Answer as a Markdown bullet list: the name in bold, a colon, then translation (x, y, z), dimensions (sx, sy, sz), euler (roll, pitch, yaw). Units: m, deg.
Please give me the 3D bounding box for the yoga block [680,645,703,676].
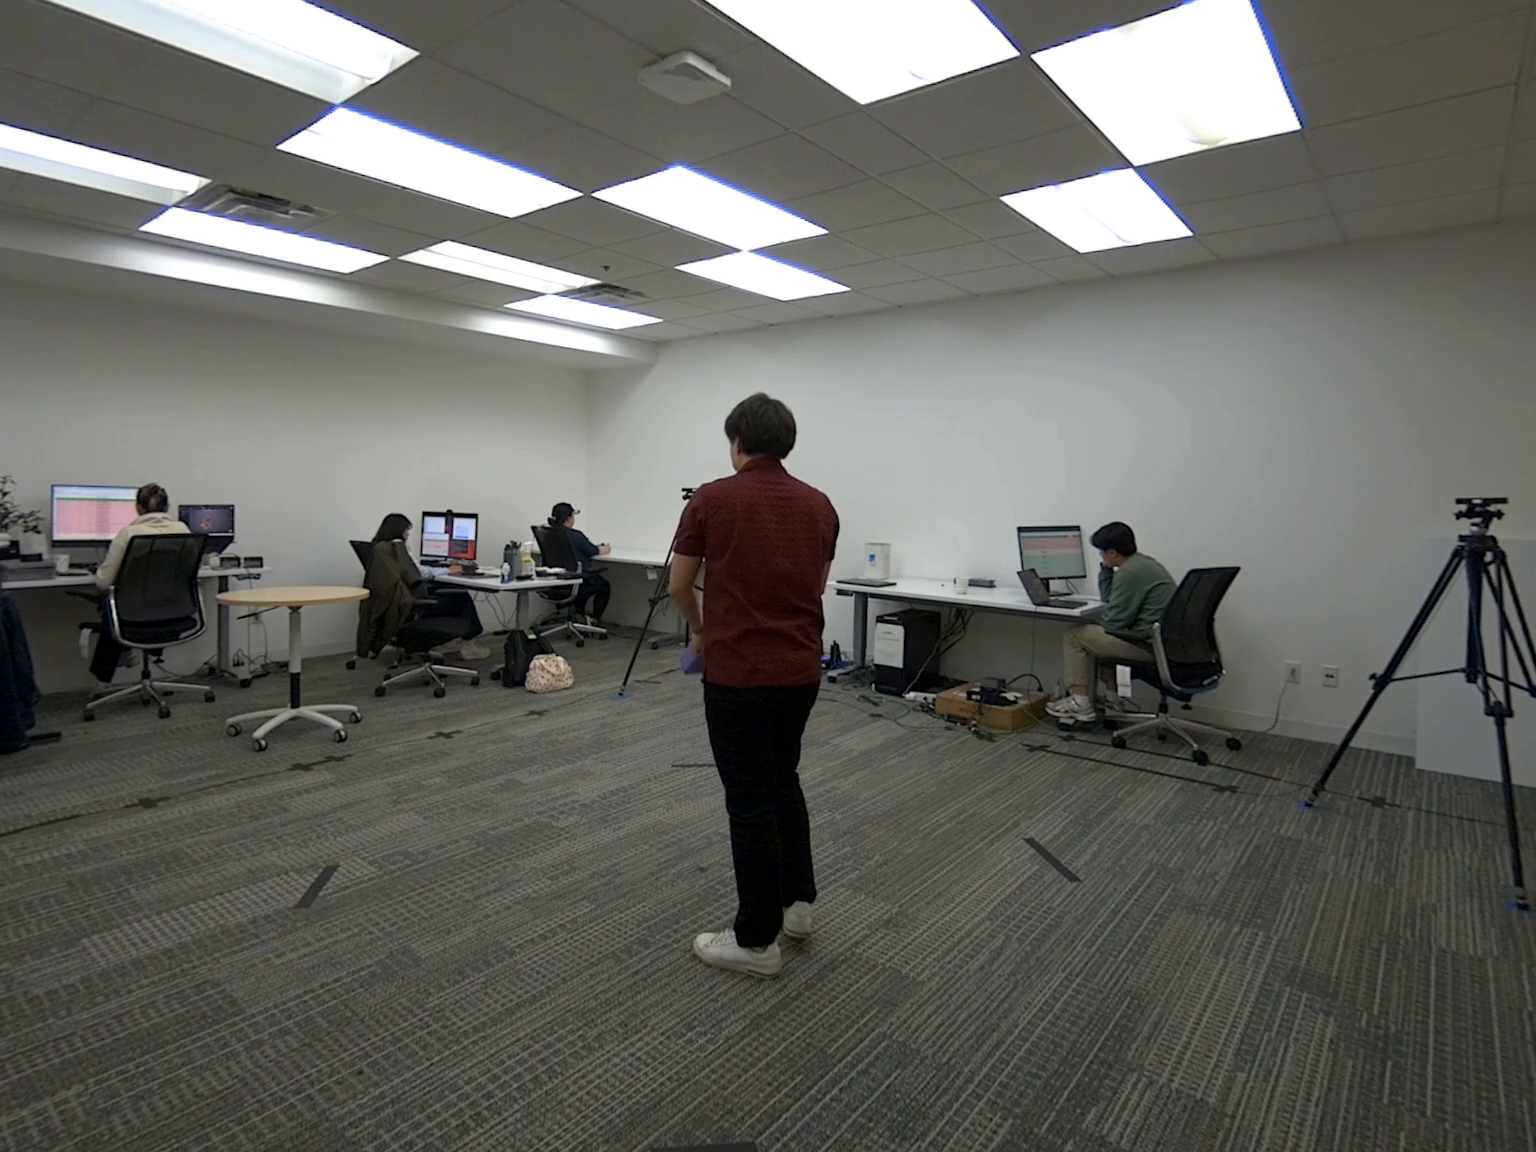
- **yoga block**: translation (-0.183, 0.234, 2.975), dimensions (0.145, 0.078, 0.229), euler (-6, -27, -33)
